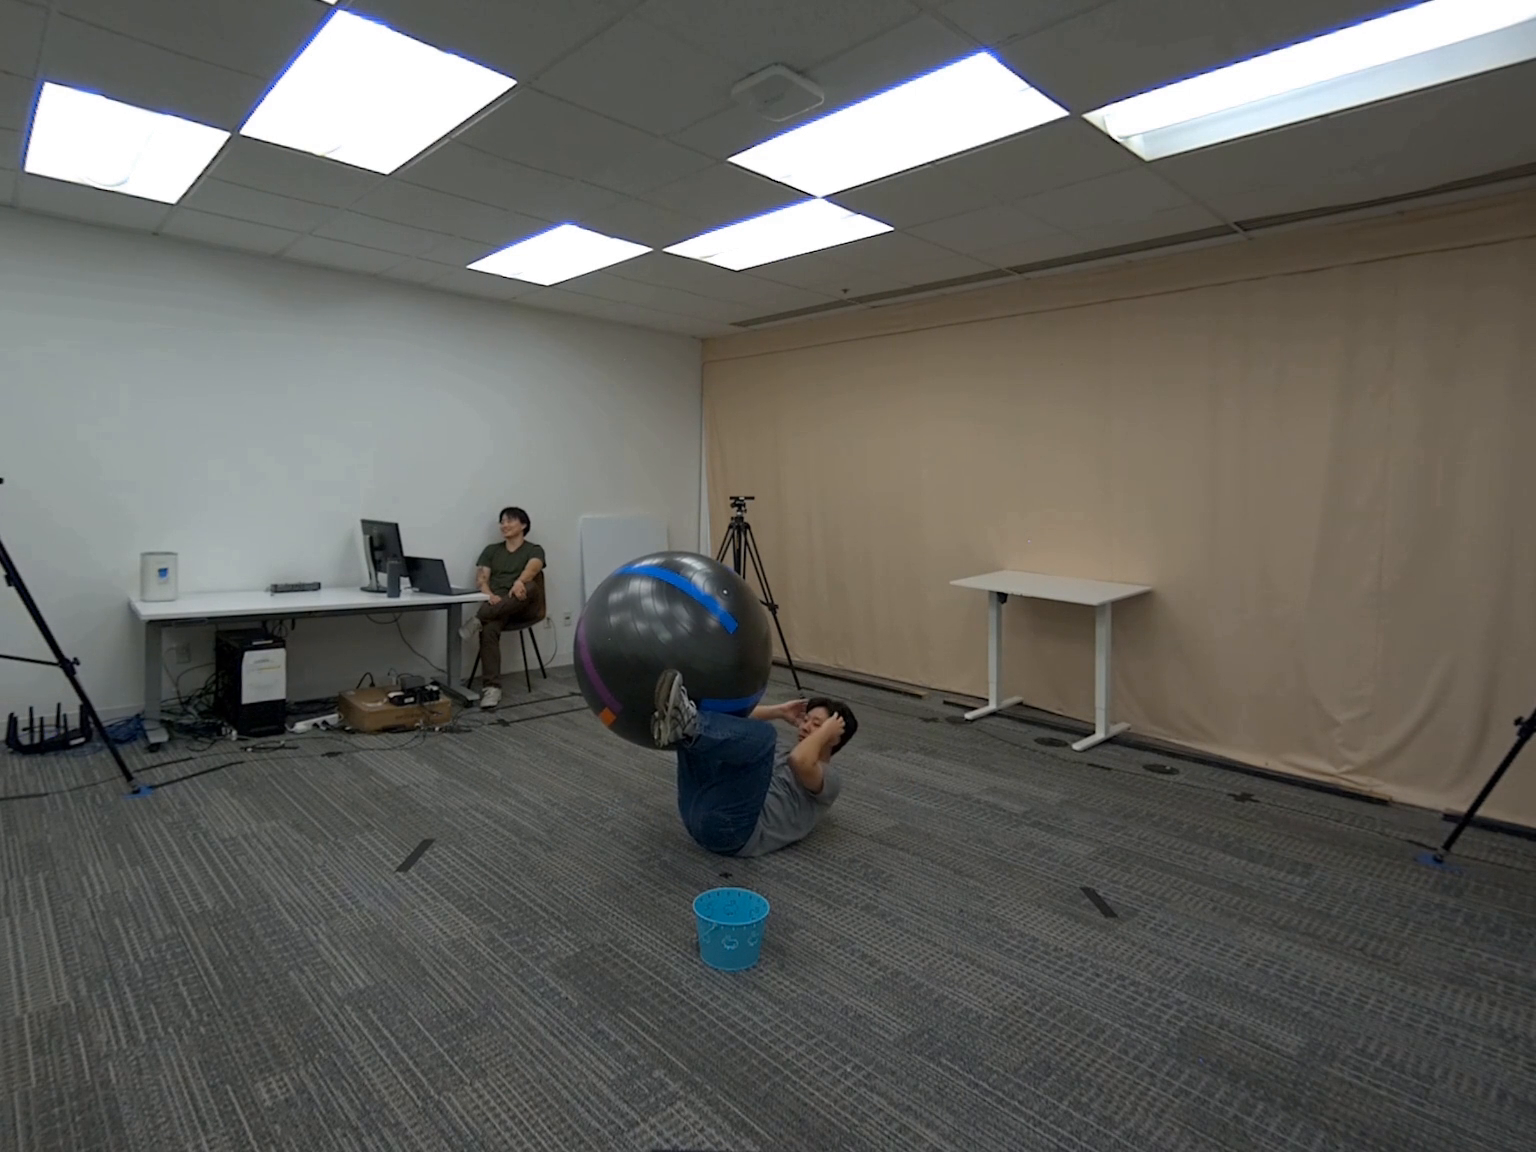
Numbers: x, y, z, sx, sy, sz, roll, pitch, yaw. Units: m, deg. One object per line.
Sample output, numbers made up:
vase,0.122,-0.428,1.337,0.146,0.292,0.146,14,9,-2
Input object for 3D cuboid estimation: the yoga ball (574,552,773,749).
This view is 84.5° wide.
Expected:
yoga ball,-0.367,0.287,3.222,0.757,0.756,0.761,1,4,-1
